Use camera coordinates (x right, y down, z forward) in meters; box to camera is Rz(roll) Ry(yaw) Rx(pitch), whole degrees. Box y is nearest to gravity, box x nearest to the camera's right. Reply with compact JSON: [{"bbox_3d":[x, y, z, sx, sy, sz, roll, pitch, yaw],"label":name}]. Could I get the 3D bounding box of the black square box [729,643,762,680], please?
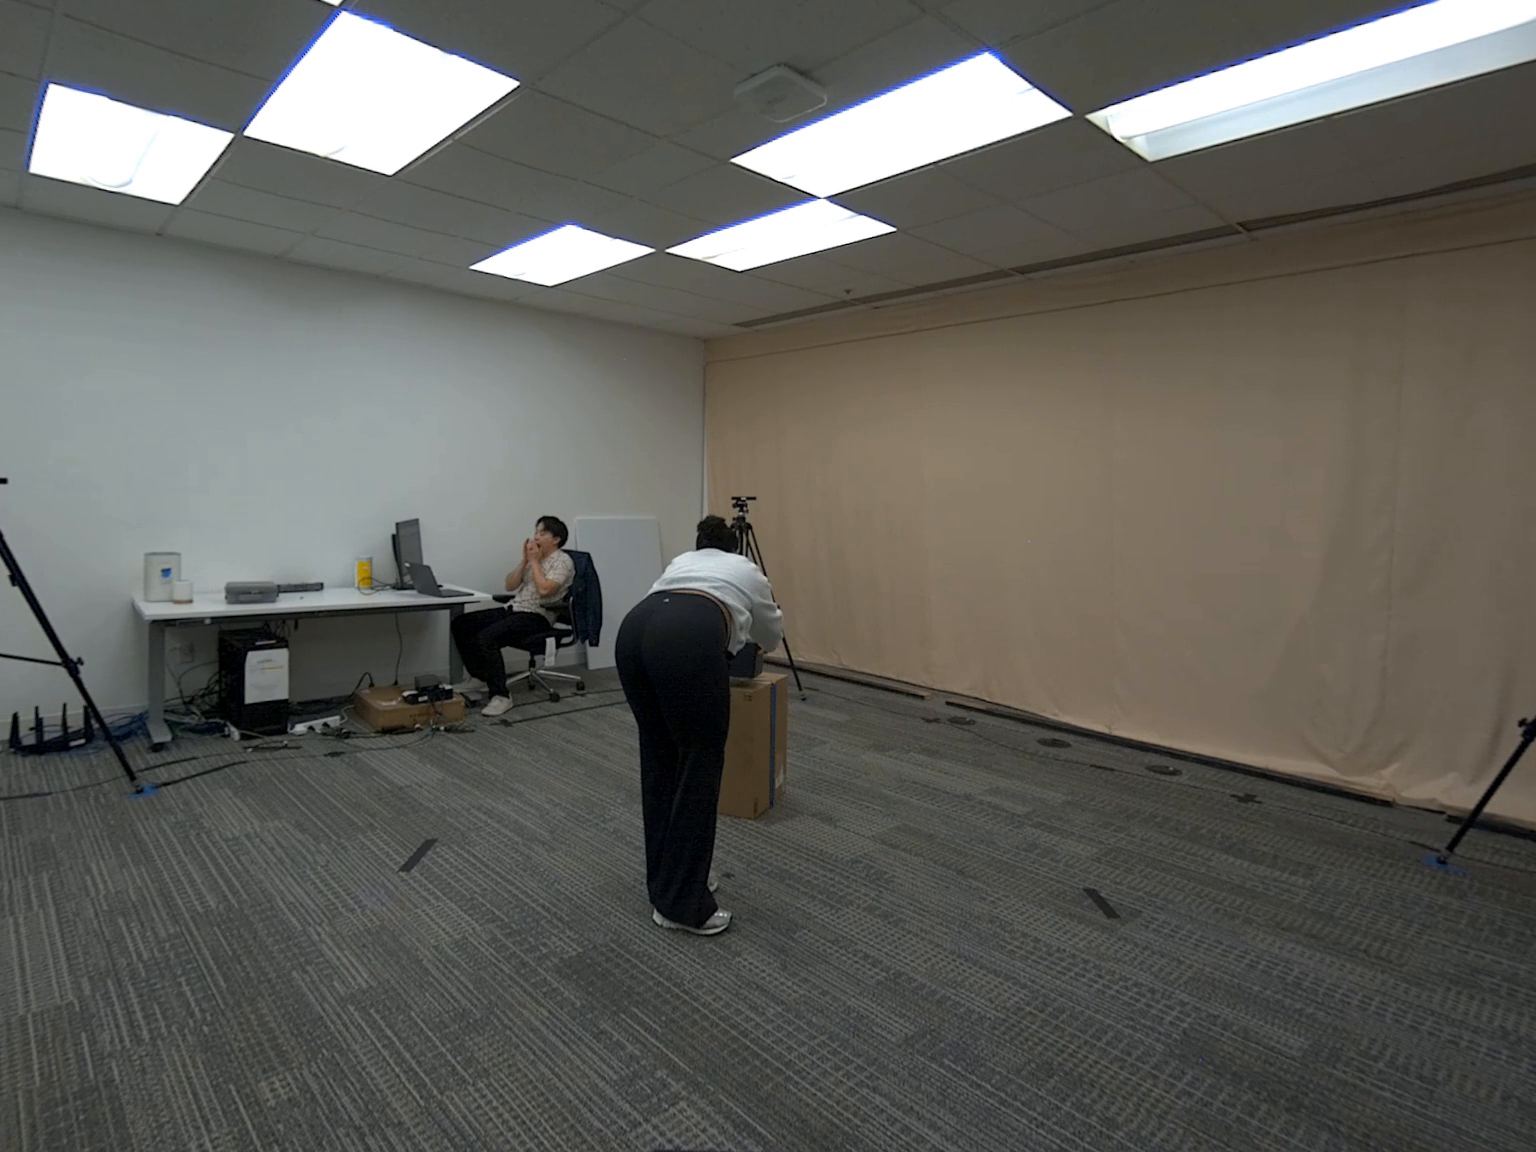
[{"bbox_3d":[-0.149,0.358,3.765,0.230,0.156,0.215,4,0,11],"label":"black square box"}]
